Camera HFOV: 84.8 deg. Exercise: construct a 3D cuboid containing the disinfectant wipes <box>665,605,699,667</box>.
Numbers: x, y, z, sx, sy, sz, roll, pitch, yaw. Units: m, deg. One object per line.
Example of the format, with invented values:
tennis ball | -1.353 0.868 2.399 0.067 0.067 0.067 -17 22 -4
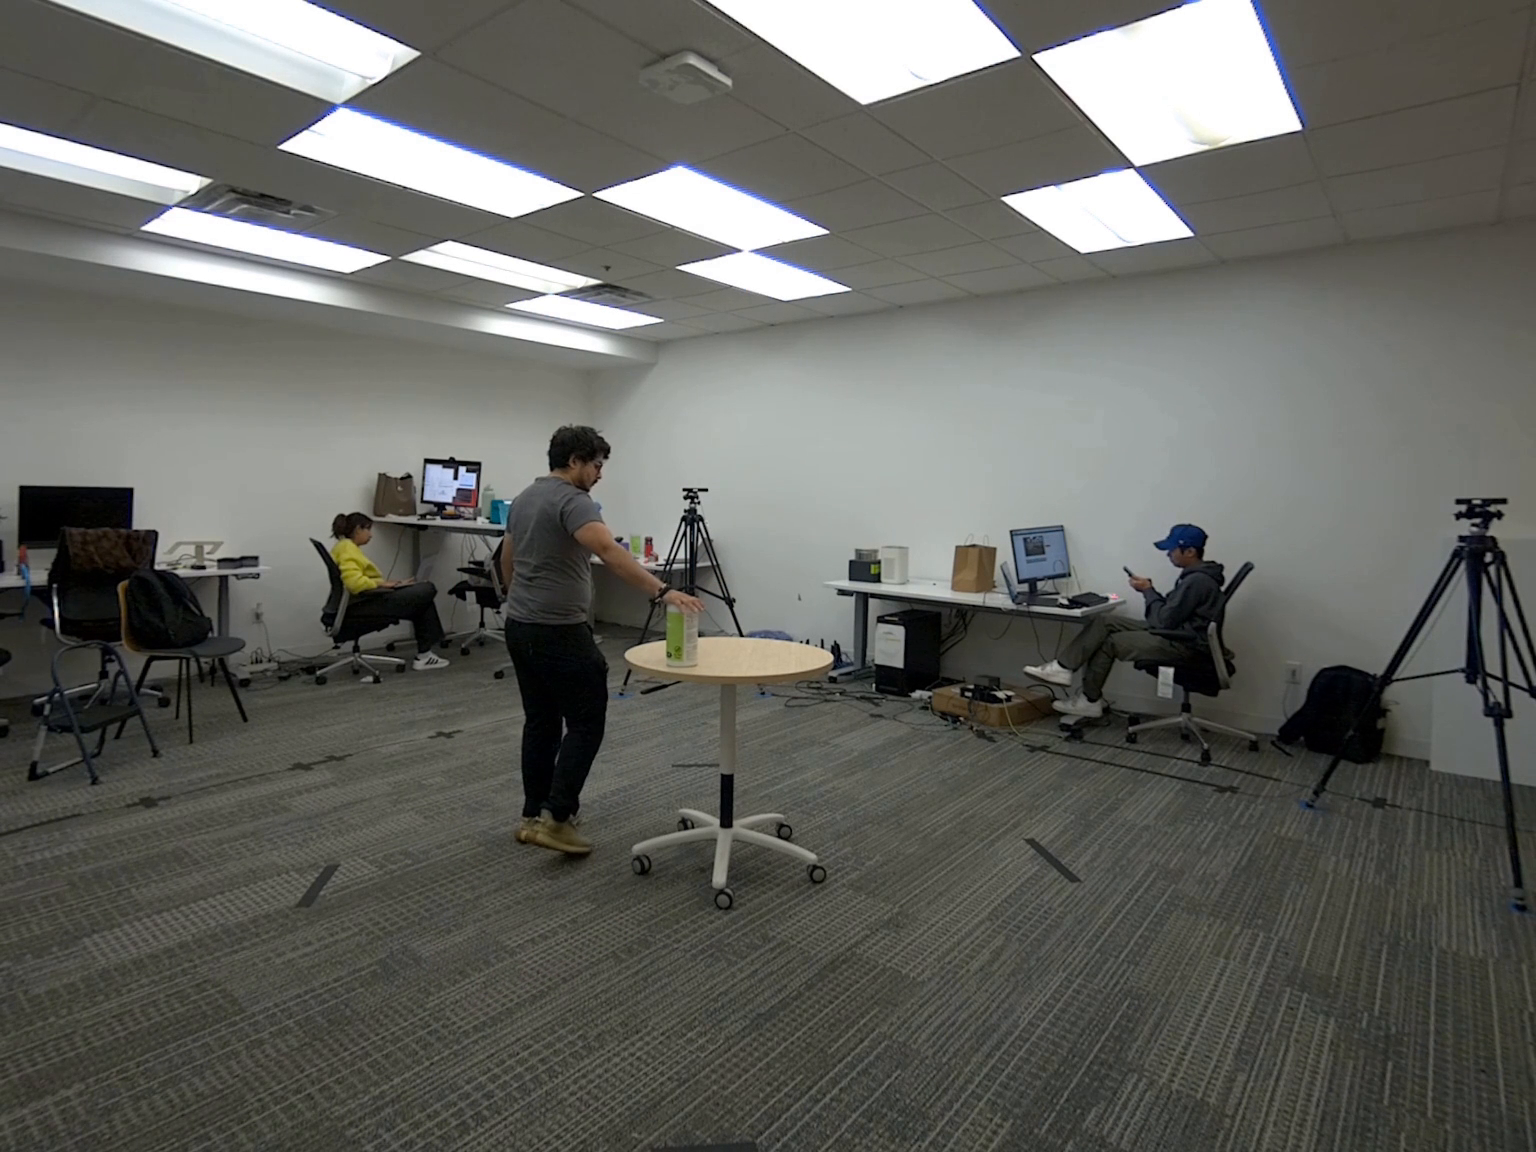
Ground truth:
disinfectant wipes | -0.306 0.198 2.928 0.118 0.216 0.118 -2 6 -2
